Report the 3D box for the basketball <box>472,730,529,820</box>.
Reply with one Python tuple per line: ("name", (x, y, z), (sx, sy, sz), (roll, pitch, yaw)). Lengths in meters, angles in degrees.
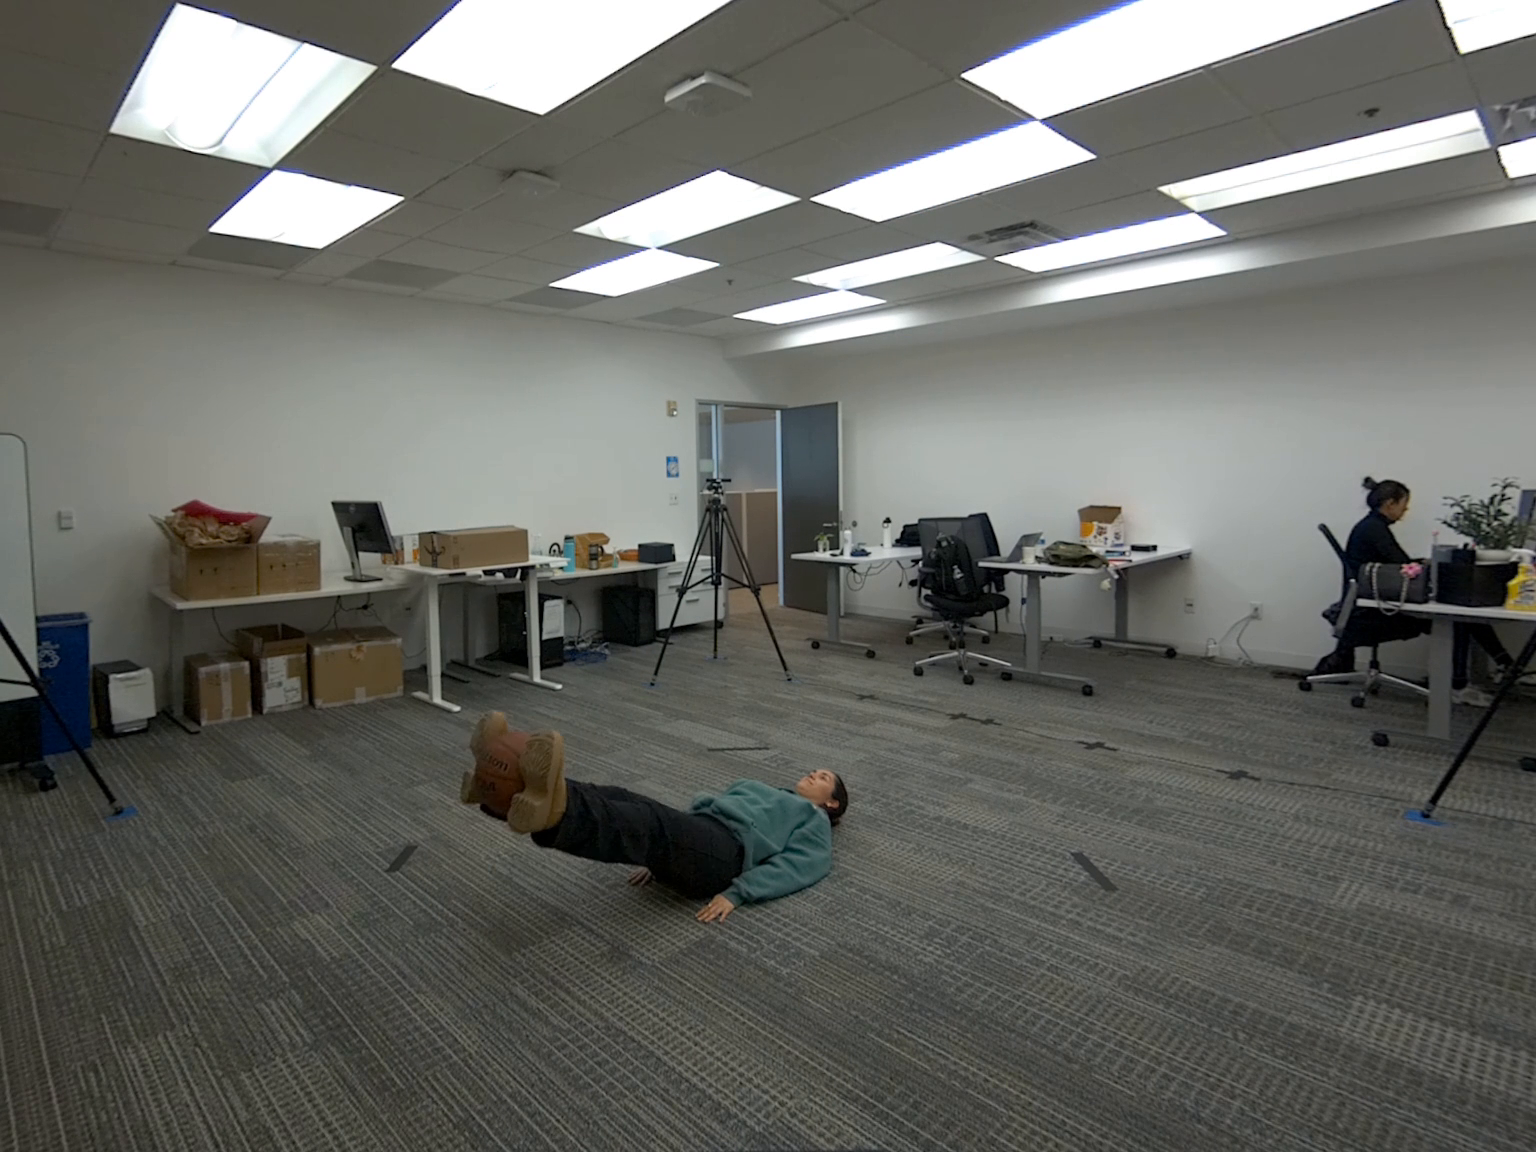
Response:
("basketball", (-0.720, 0.573, 2.474), (0.236, 0.235, 0.237), (-1, 4, -2))
